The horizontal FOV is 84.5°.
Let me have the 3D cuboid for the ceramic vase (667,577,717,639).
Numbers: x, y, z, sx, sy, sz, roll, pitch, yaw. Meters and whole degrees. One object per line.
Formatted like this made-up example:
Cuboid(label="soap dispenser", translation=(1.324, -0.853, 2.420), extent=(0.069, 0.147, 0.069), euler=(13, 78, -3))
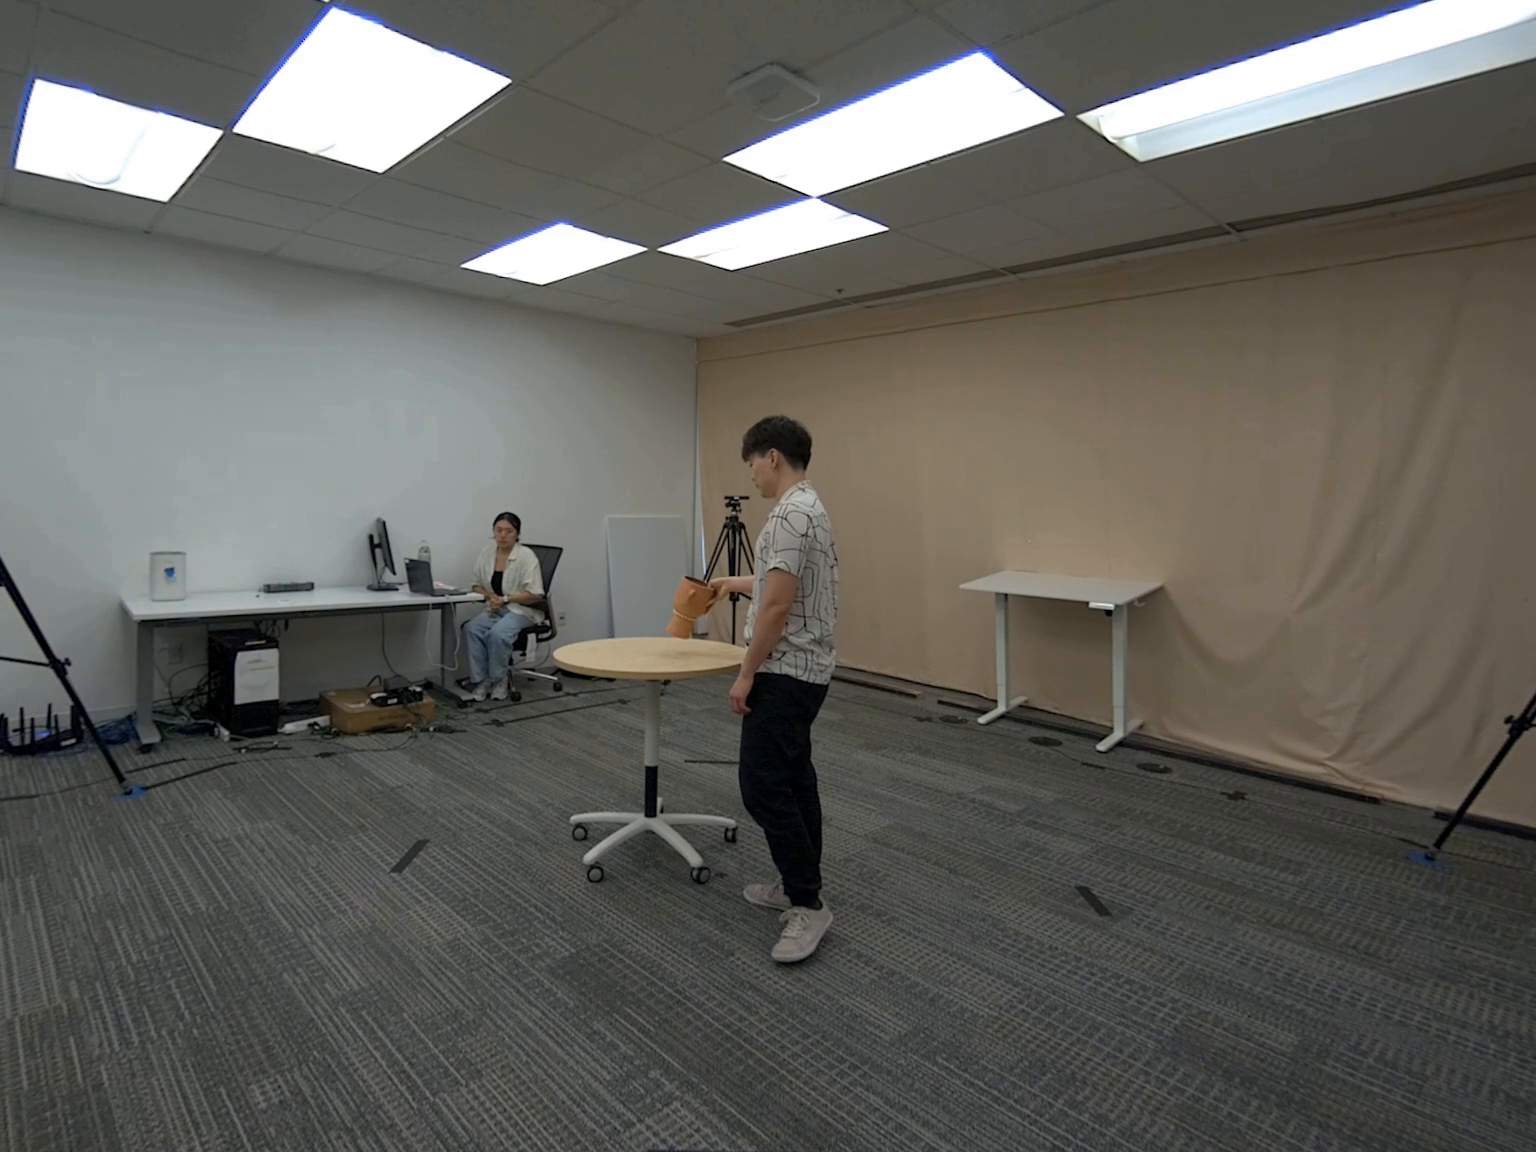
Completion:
Cuboid(label="ceramic vase", translation=(-0.312, 0.127, 3.235), extent=(0.154, 0.219, 0.139), euler=(14, 9, -44))
